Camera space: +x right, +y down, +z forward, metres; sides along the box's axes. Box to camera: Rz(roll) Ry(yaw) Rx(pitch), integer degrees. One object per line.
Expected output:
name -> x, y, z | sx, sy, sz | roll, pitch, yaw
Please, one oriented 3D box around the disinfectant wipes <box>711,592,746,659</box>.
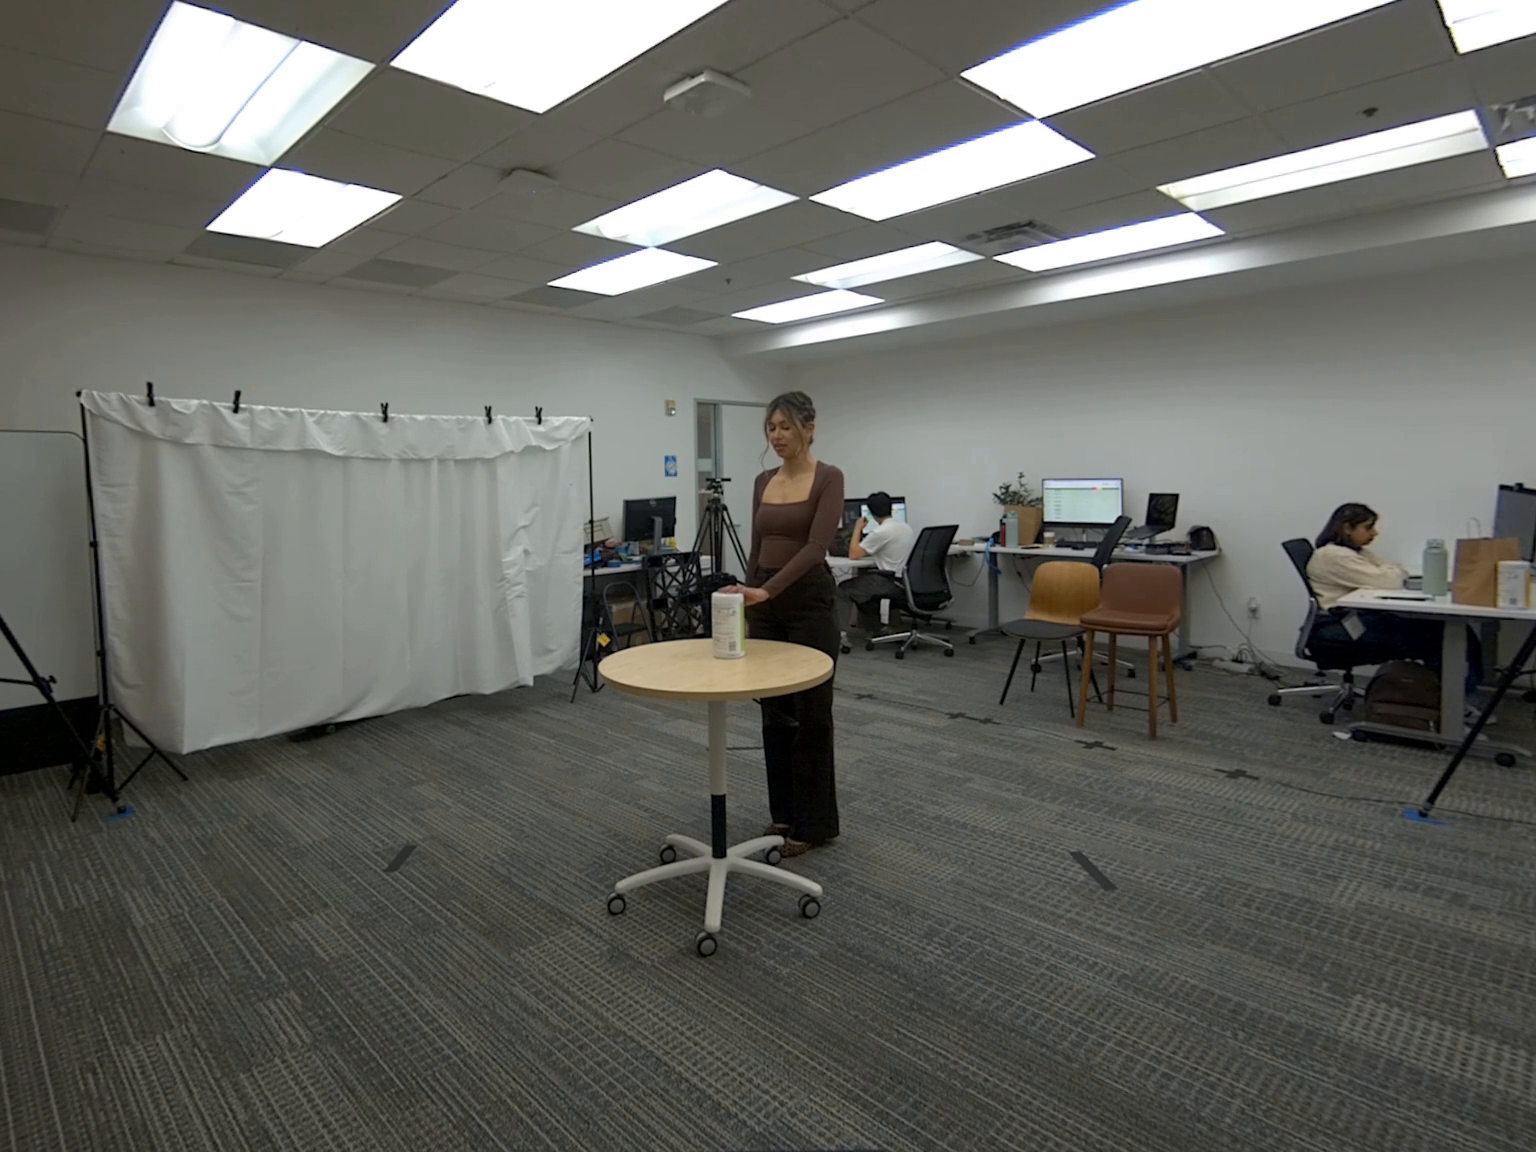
disinfectant wipes -> -0.129, 0.167, 2.880 | 0.118, 0.216, 0.118 | 0, 6, -2
